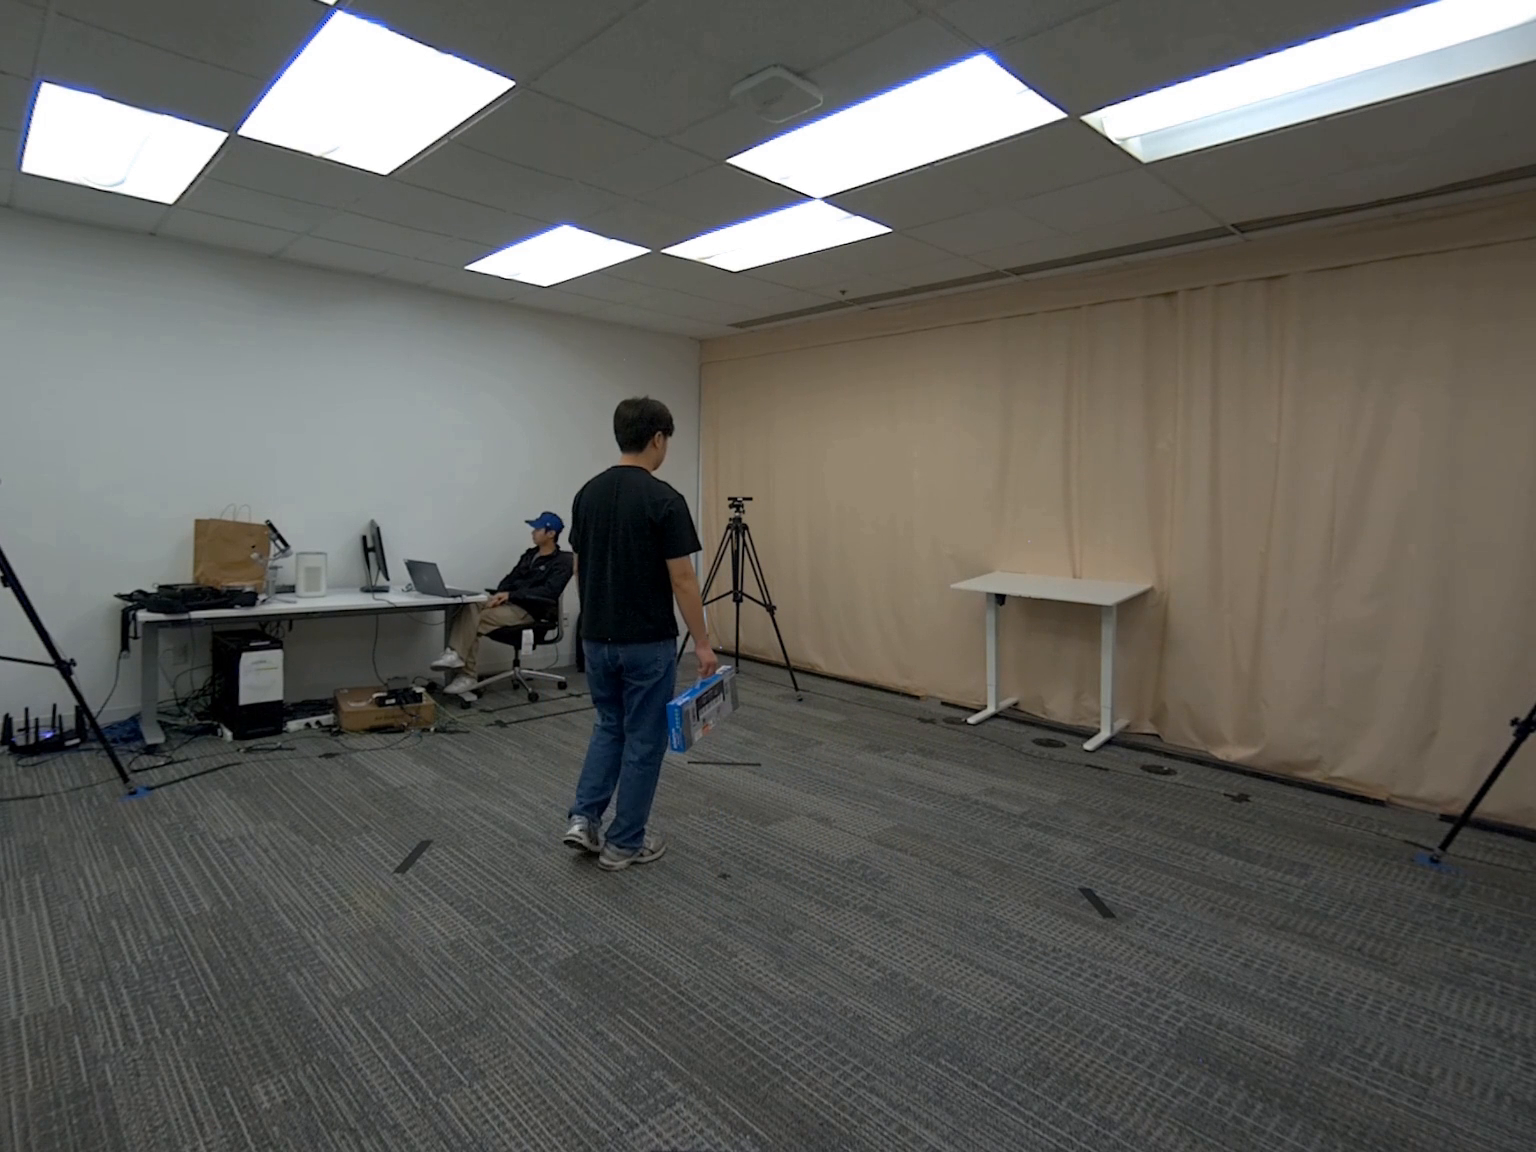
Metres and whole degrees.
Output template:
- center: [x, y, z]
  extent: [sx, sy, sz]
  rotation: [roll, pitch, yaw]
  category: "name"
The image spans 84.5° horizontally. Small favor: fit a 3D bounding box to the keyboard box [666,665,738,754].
- center: [-0.244, 0.481, 3.107]
  extent: [0.060, 0.174, 0.433]
  rotation: [1, 13, 24]
  category: "keyboard box"
